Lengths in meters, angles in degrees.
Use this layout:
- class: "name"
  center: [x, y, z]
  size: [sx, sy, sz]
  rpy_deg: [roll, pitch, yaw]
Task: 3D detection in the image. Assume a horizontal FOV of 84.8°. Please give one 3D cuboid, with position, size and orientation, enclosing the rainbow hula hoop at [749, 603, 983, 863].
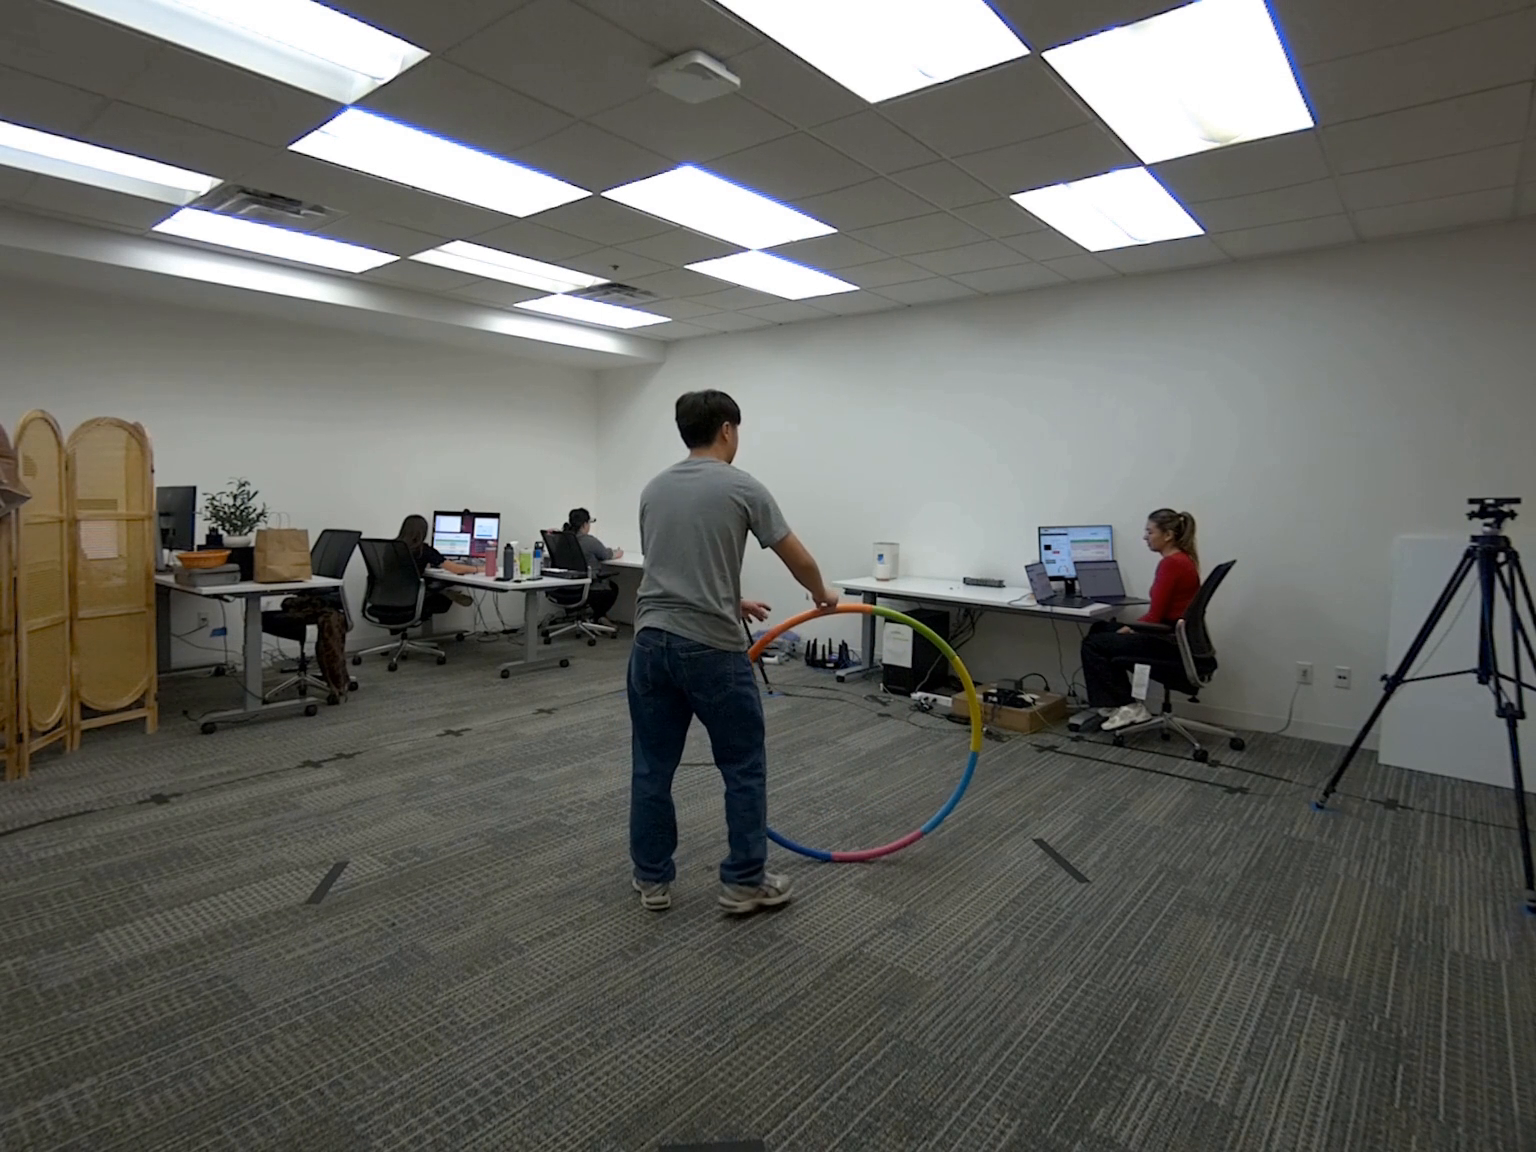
- class: "rainbow hula hoop"
  center: [0.301, 0.589, 3.148]
  size: [0.974, 0.973, 0.036]
  rpy_deg: [1, 5, -4]
